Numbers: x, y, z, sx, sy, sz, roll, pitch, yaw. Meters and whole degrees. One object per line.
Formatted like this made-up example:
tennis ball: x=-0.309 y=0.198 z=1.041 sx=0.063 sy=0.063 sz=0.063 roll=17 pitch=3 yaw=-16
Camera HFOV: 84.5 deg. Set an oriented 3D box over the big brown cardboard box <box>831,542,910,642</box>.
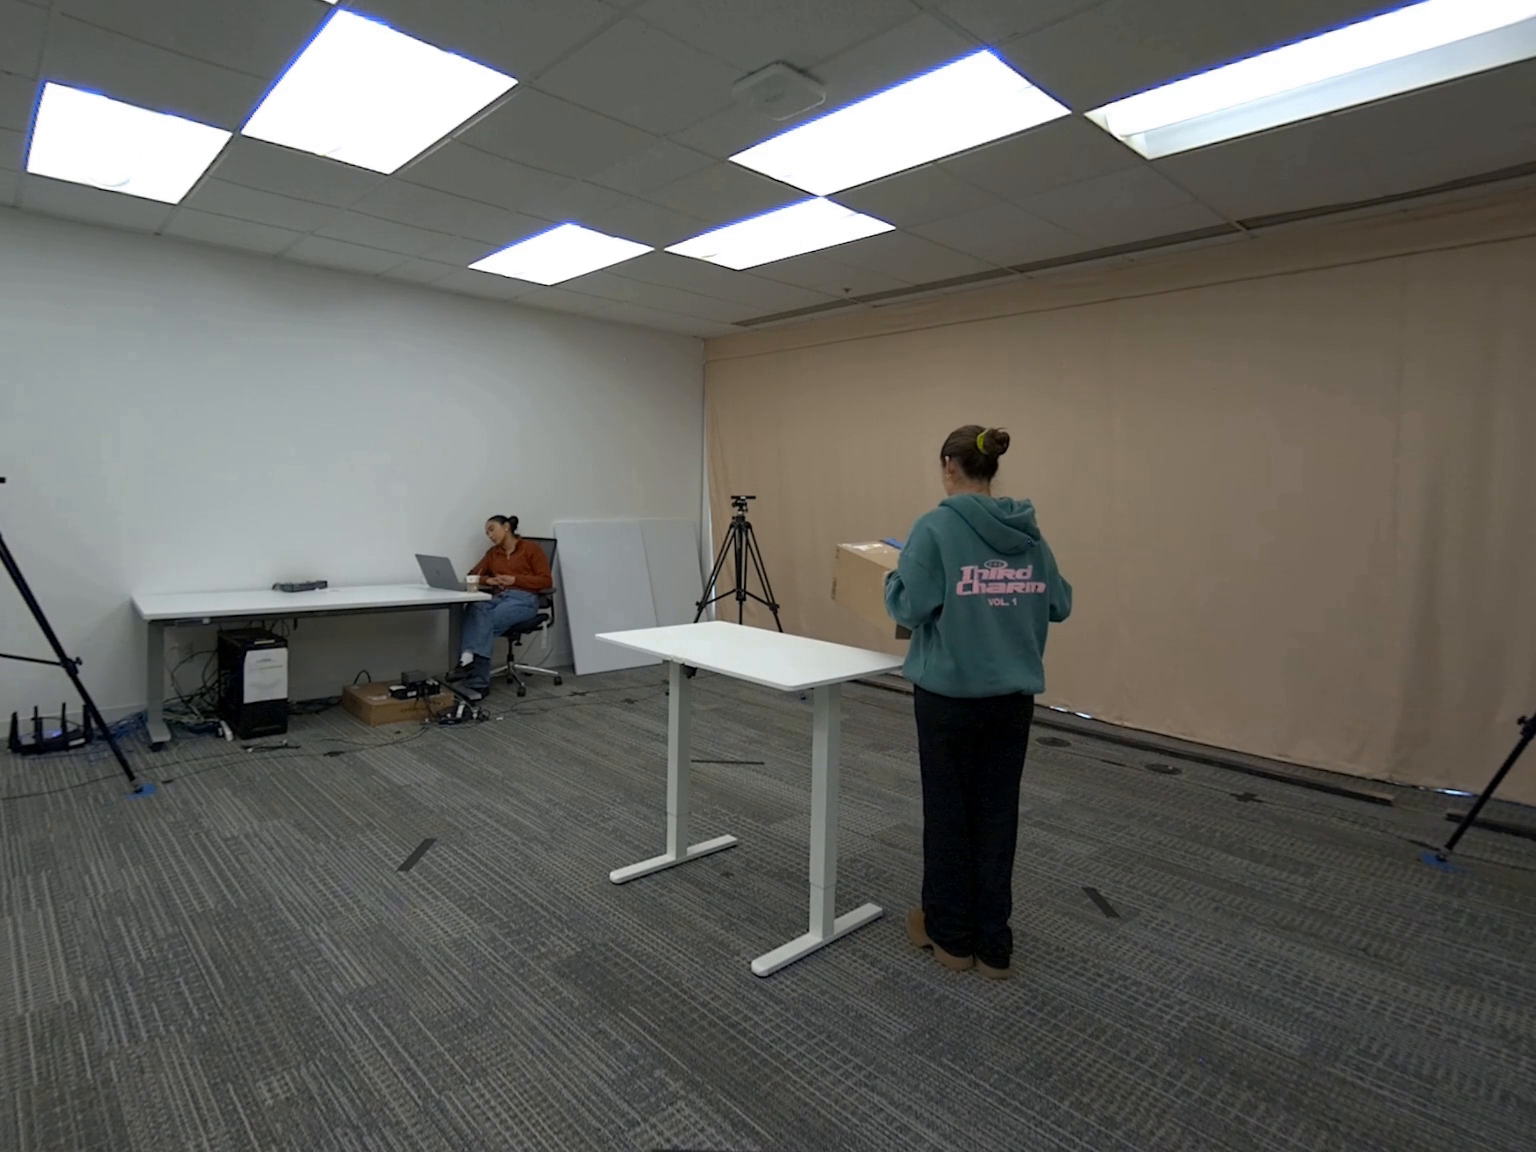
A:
big brown cardboard box: x=0.523 y=0.044 z=3.011 sx=0.412 sy=0.231 sz=0.600 roll=1 pitch=11 yaw=-16
